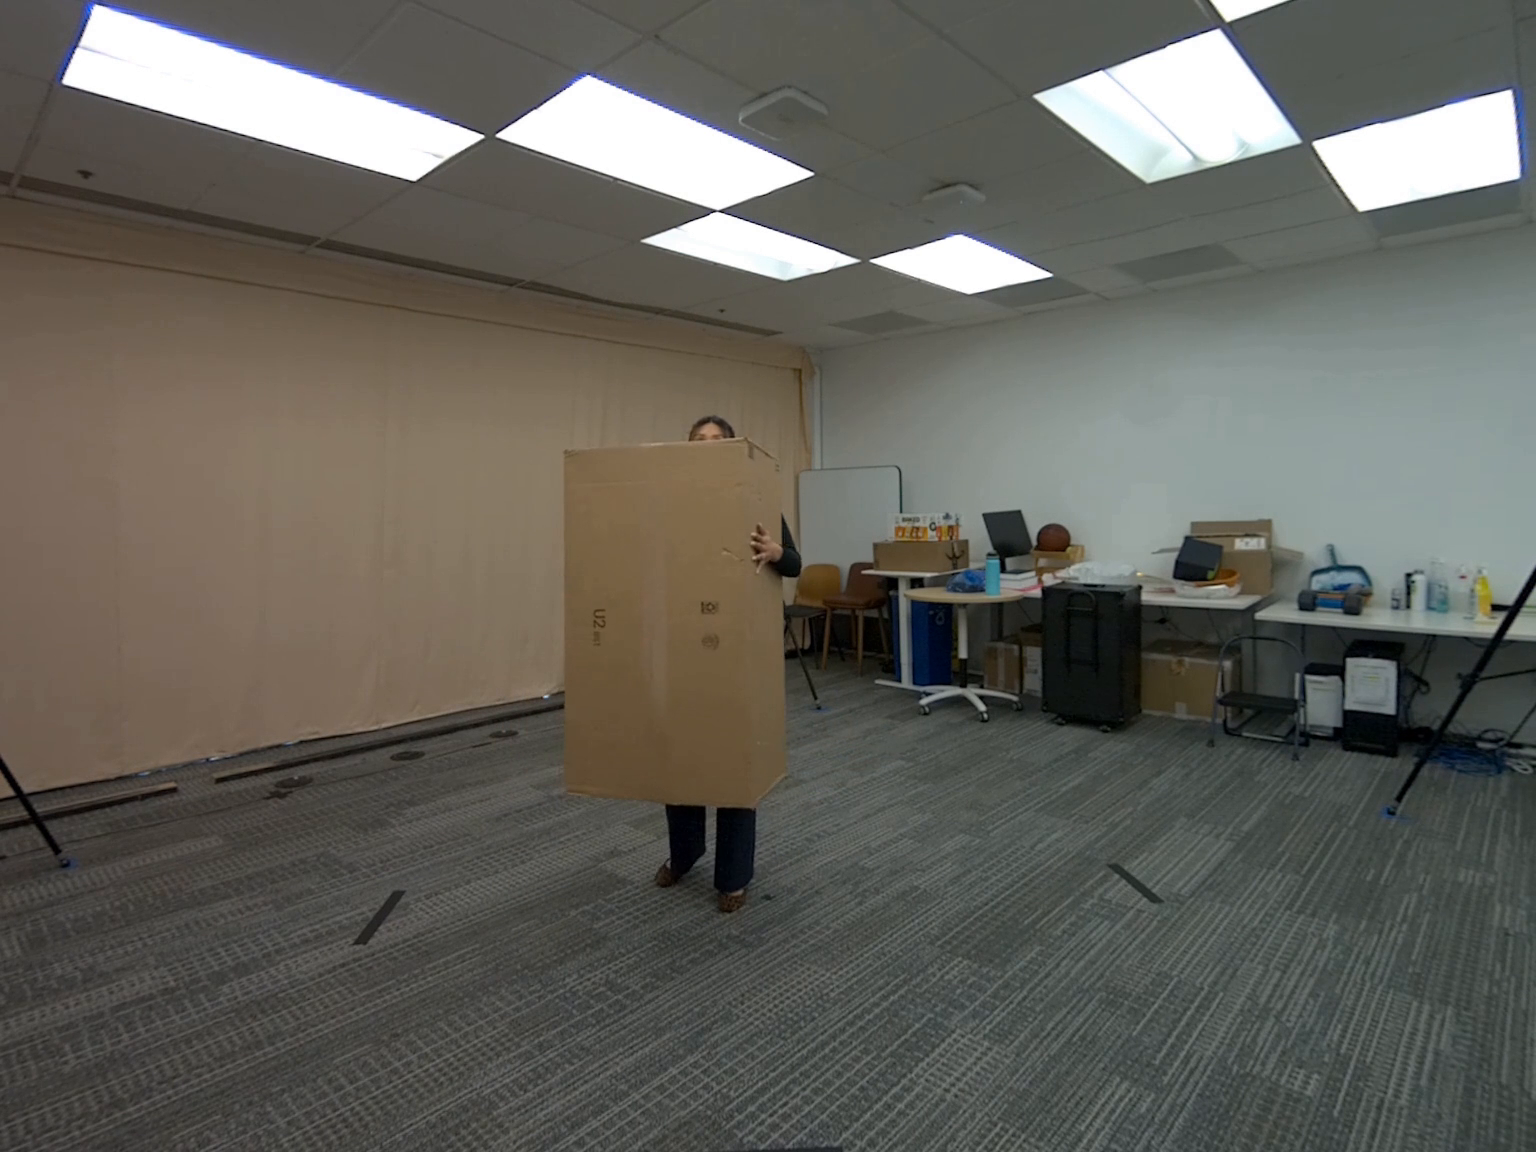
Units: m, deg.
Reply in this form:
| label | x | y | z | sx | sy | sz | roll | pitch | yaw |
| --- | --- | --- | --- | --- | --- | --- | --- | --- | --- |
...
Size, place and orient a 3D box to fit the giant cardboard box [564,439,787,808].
| label | x | y | z | sx | sy | sz | roll | pitch | yaw |
| --- | --- | --- | --- | --- | --- | --- | --- | --- | --- |
| giant cardboard box | -0.274 | 0.138 | 2.608 | 0.587 | 1.028 | 0.418 | -2 | -3 | 16 |
